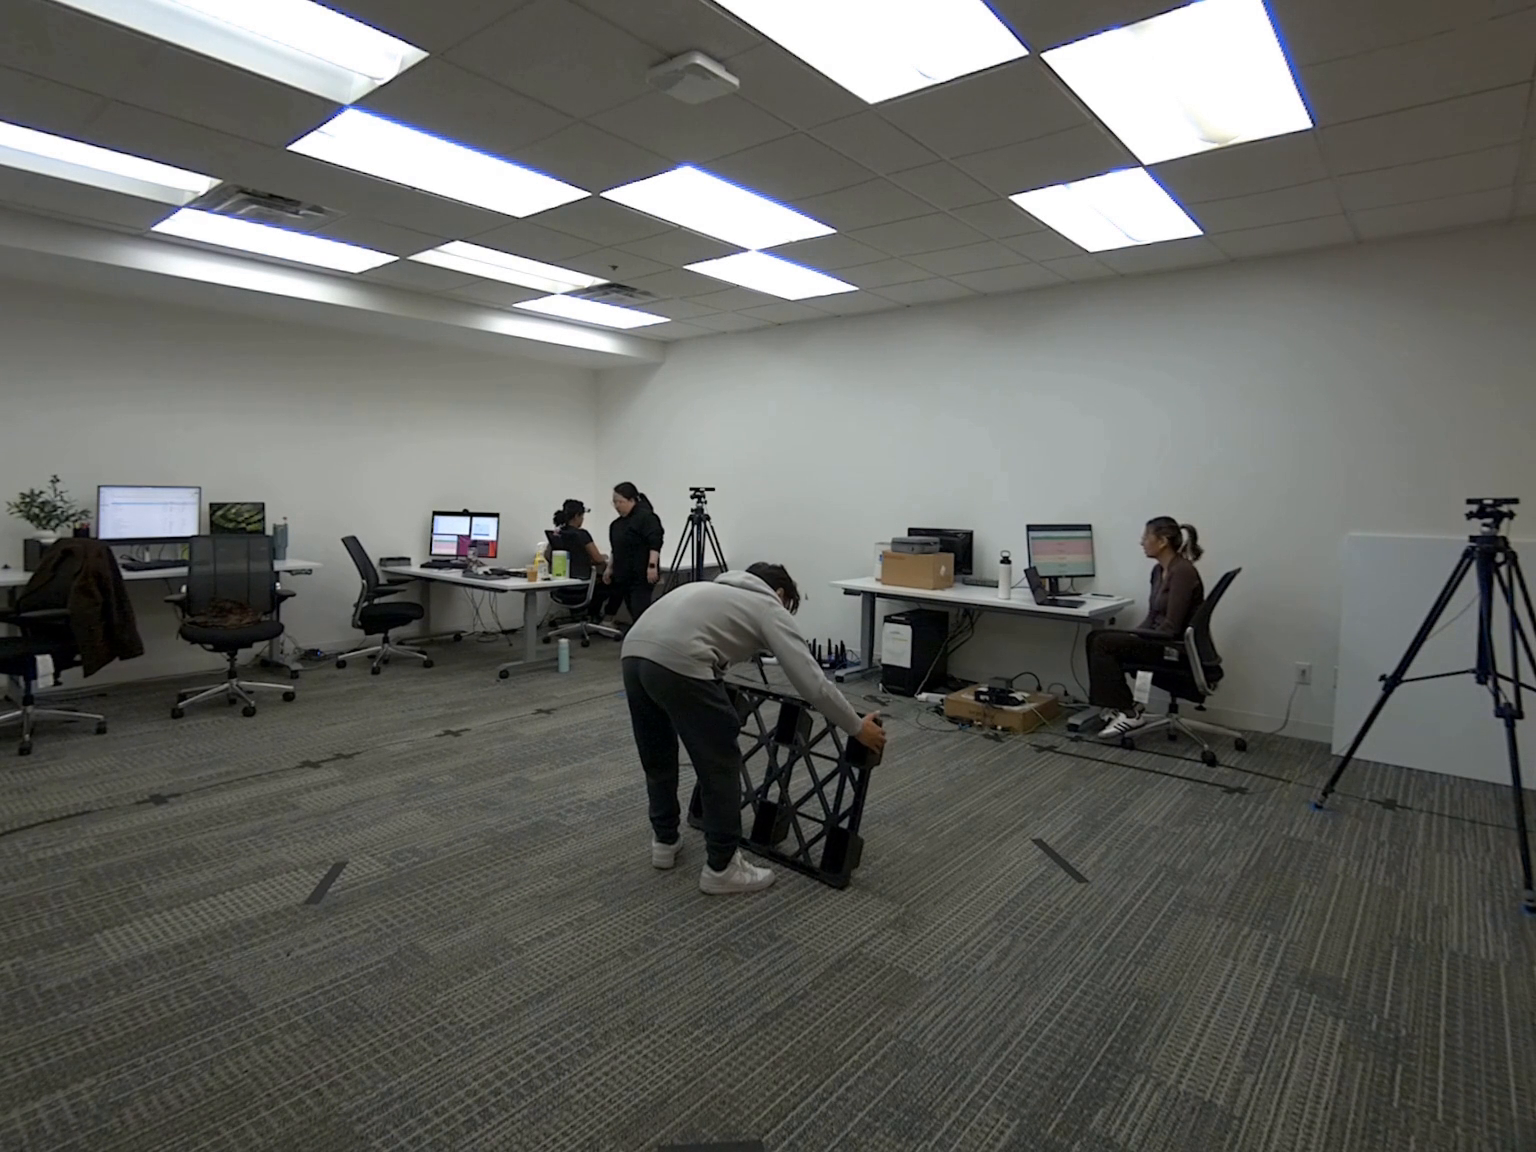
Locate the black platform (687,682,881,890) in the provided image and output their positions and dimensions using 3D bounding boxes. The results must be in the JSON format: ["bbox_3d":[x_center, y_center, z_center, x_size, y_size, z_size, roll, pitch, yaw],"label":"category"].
[{"bbox_3d":[0.054,0.773,3.328,0.833,0.609,0.137,5,-13,43],"label":"black platform"}]
